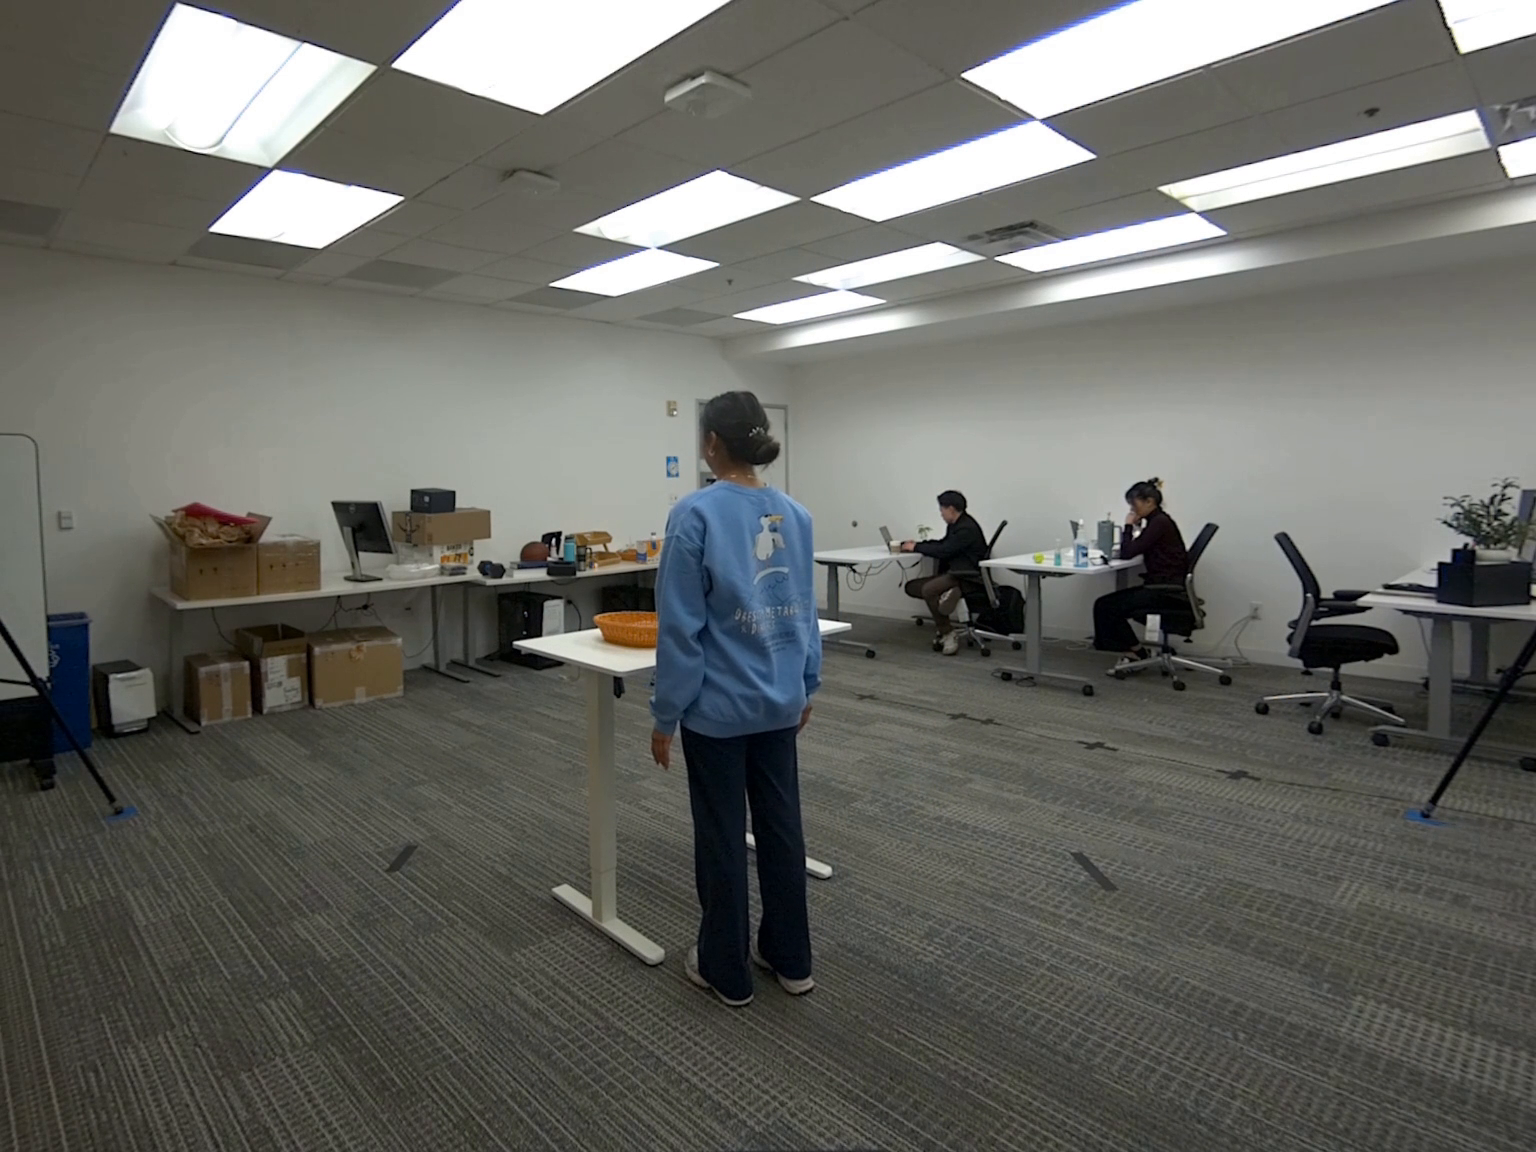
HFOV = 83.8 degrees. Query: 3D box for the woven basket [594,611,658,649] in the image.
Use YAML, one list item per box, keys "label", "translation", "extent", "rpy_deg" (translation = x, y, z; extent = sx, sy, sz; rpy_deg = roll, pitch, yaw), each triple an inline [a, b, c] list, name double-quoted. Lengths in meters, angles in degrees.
- label: "woven basket"
  translation: [-0.420, 0.180, 2.765]
  extent: [0.245, 0.073, 0.361]
  rpy_deg: [-4, 7, -44]
